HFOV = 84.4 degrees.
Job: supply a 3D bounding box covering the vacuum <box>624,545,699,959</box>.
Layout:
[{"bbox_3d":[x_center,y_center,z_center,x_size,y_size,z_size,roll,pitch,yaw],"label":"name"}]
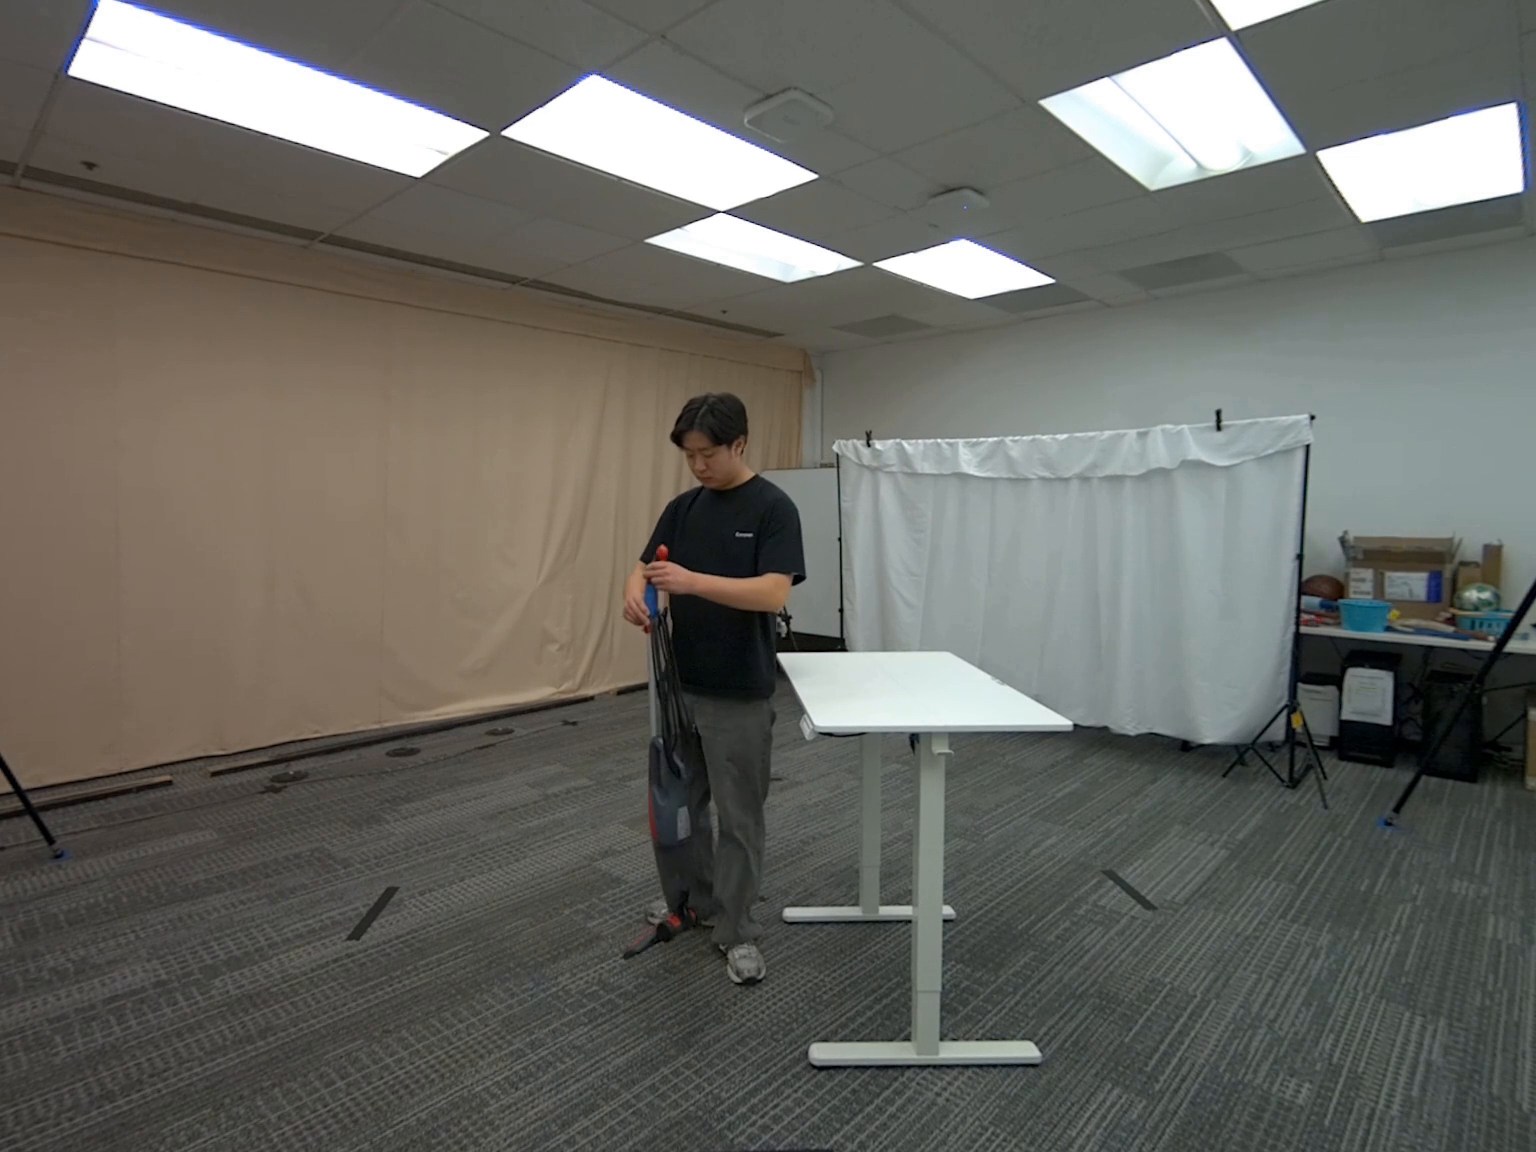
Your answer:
[{"bbox_3d":[-0.279,0.462,2.296,0.148,1.048,0.245,1,1,35],"label":"vacuum"}]
